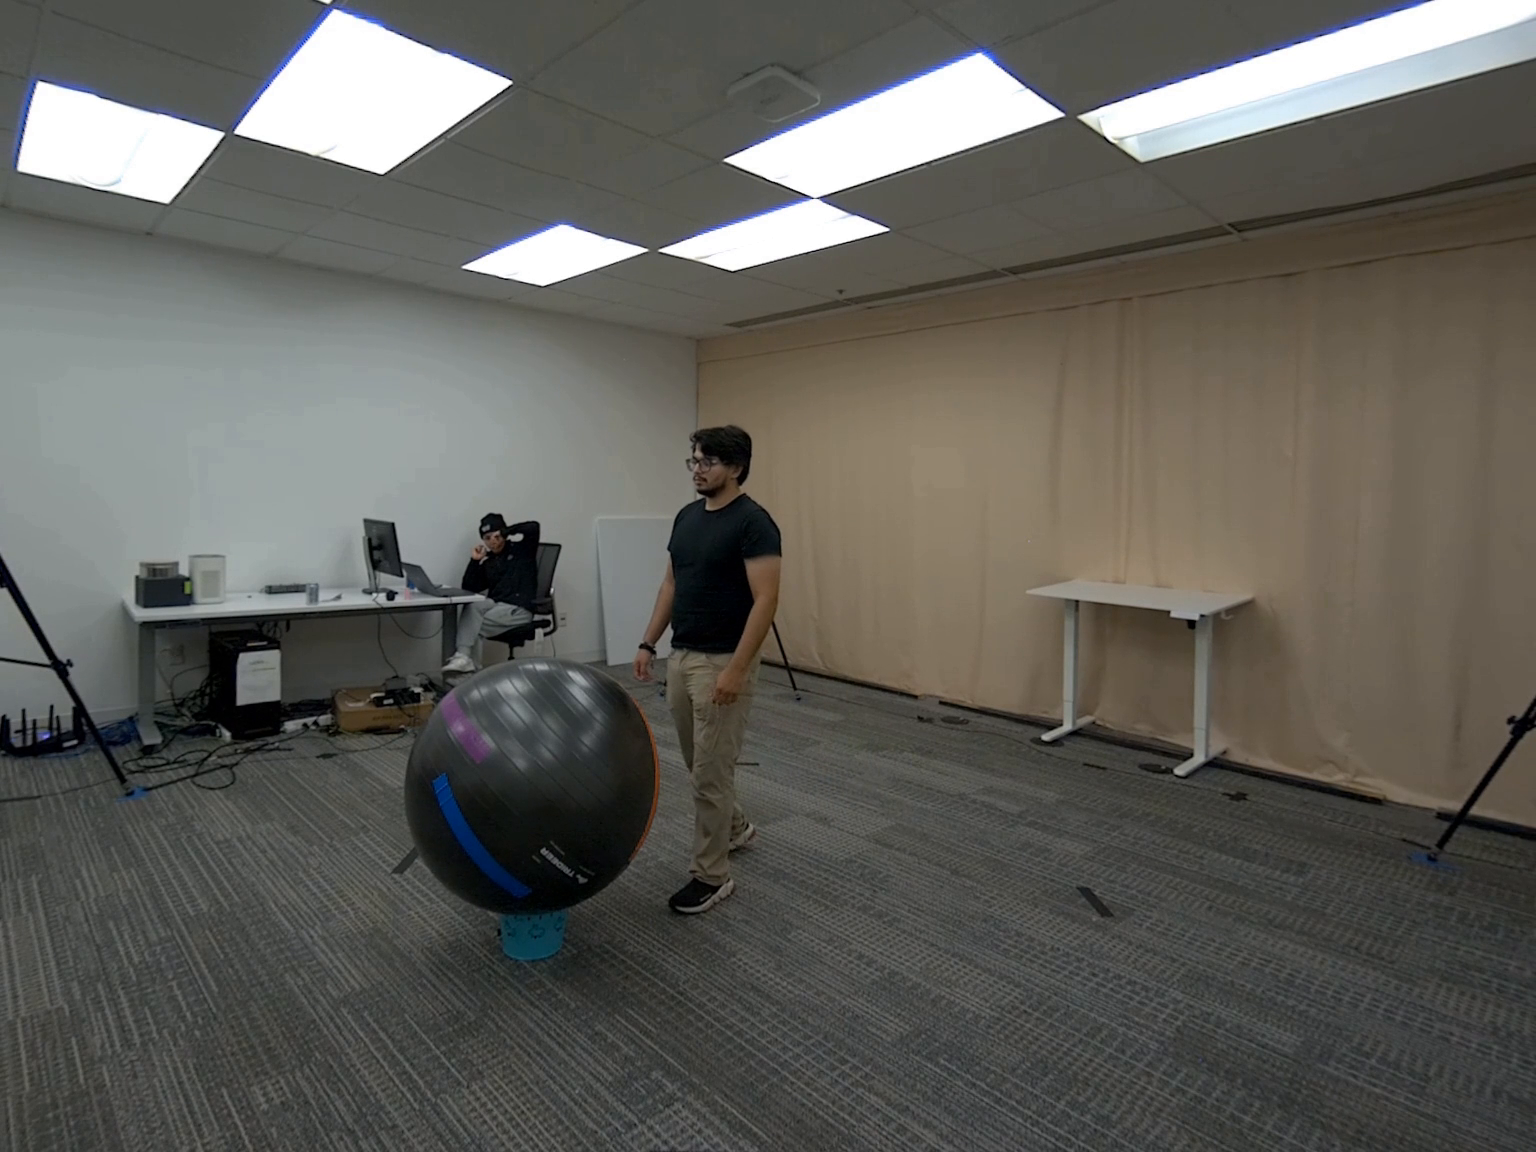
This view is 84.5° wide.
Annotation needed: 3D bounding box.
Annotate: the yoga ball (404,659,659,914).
[{"bbox_3d":[-0.716,0.636,2.583,0.757,0.756,0.761,1,4,-1],"label":"yoga ball"}]
